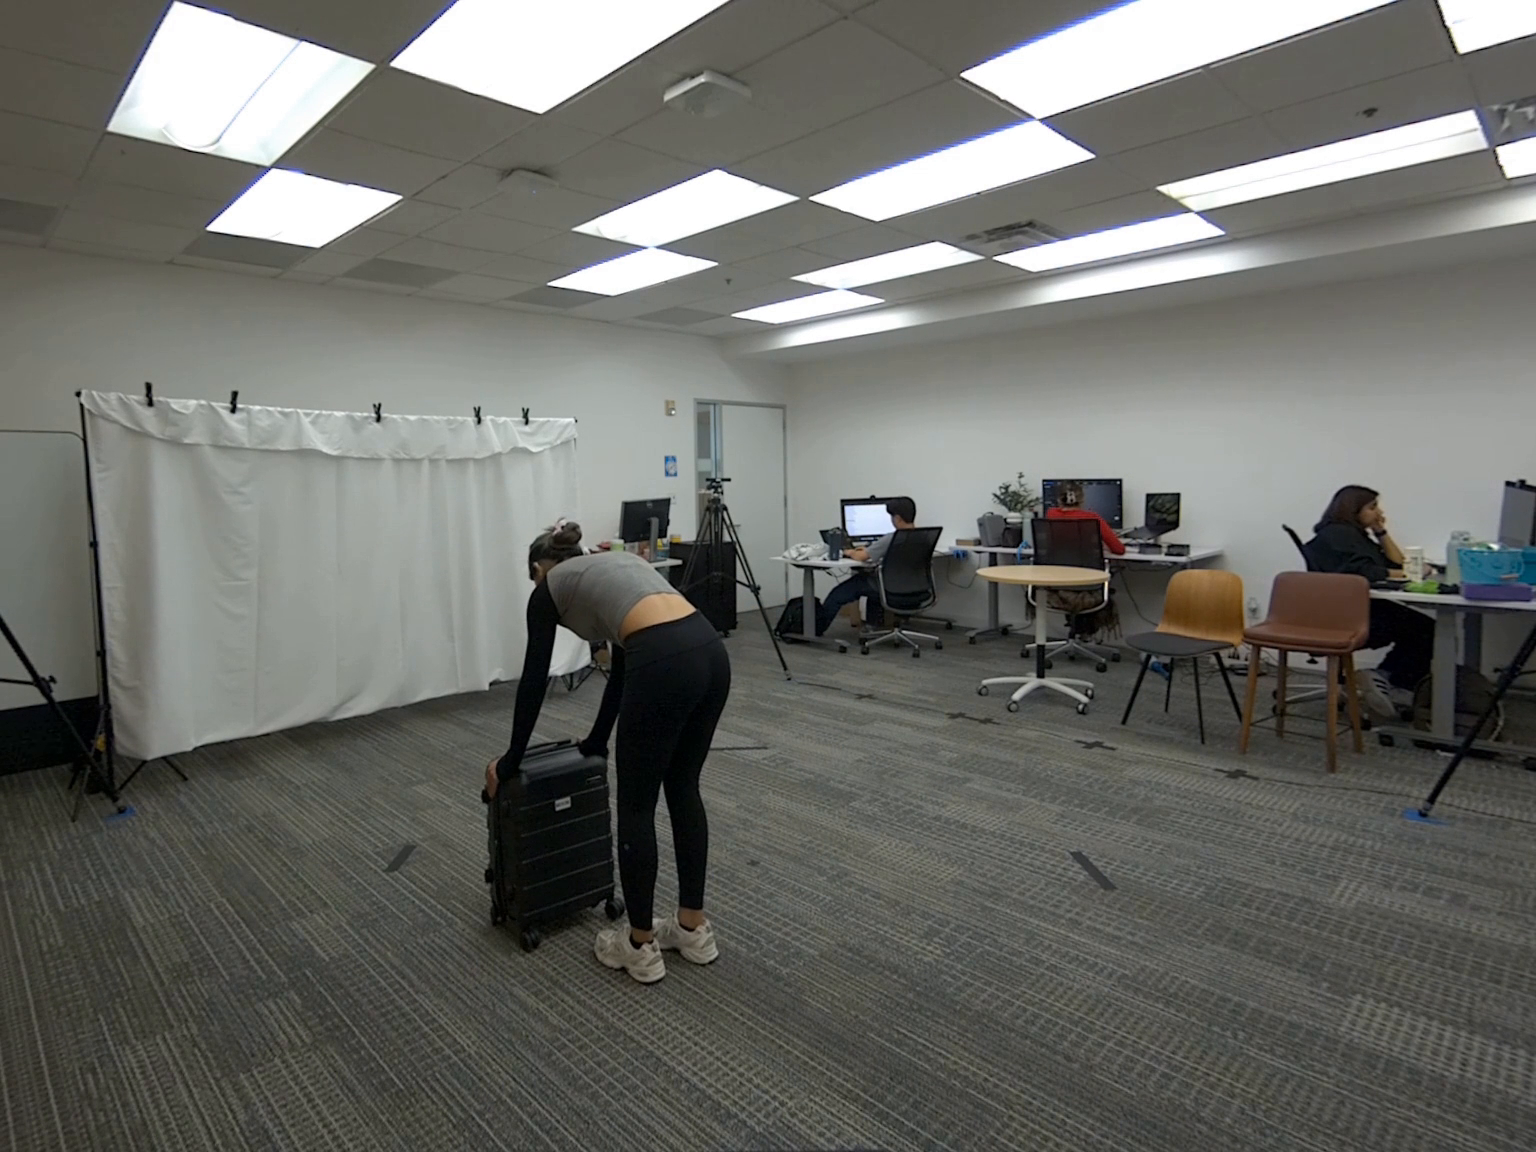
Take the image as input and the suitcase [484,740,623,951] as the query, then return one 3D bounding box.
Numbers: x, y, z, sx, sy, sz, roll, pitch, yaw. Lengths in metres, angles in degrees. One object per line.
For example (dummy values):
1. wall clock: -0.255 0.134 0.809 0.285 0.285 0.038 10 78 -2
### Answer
1. suitcase: -0.691 0.823 2.733 0.365 0.548 0.255 -4 3 -39
